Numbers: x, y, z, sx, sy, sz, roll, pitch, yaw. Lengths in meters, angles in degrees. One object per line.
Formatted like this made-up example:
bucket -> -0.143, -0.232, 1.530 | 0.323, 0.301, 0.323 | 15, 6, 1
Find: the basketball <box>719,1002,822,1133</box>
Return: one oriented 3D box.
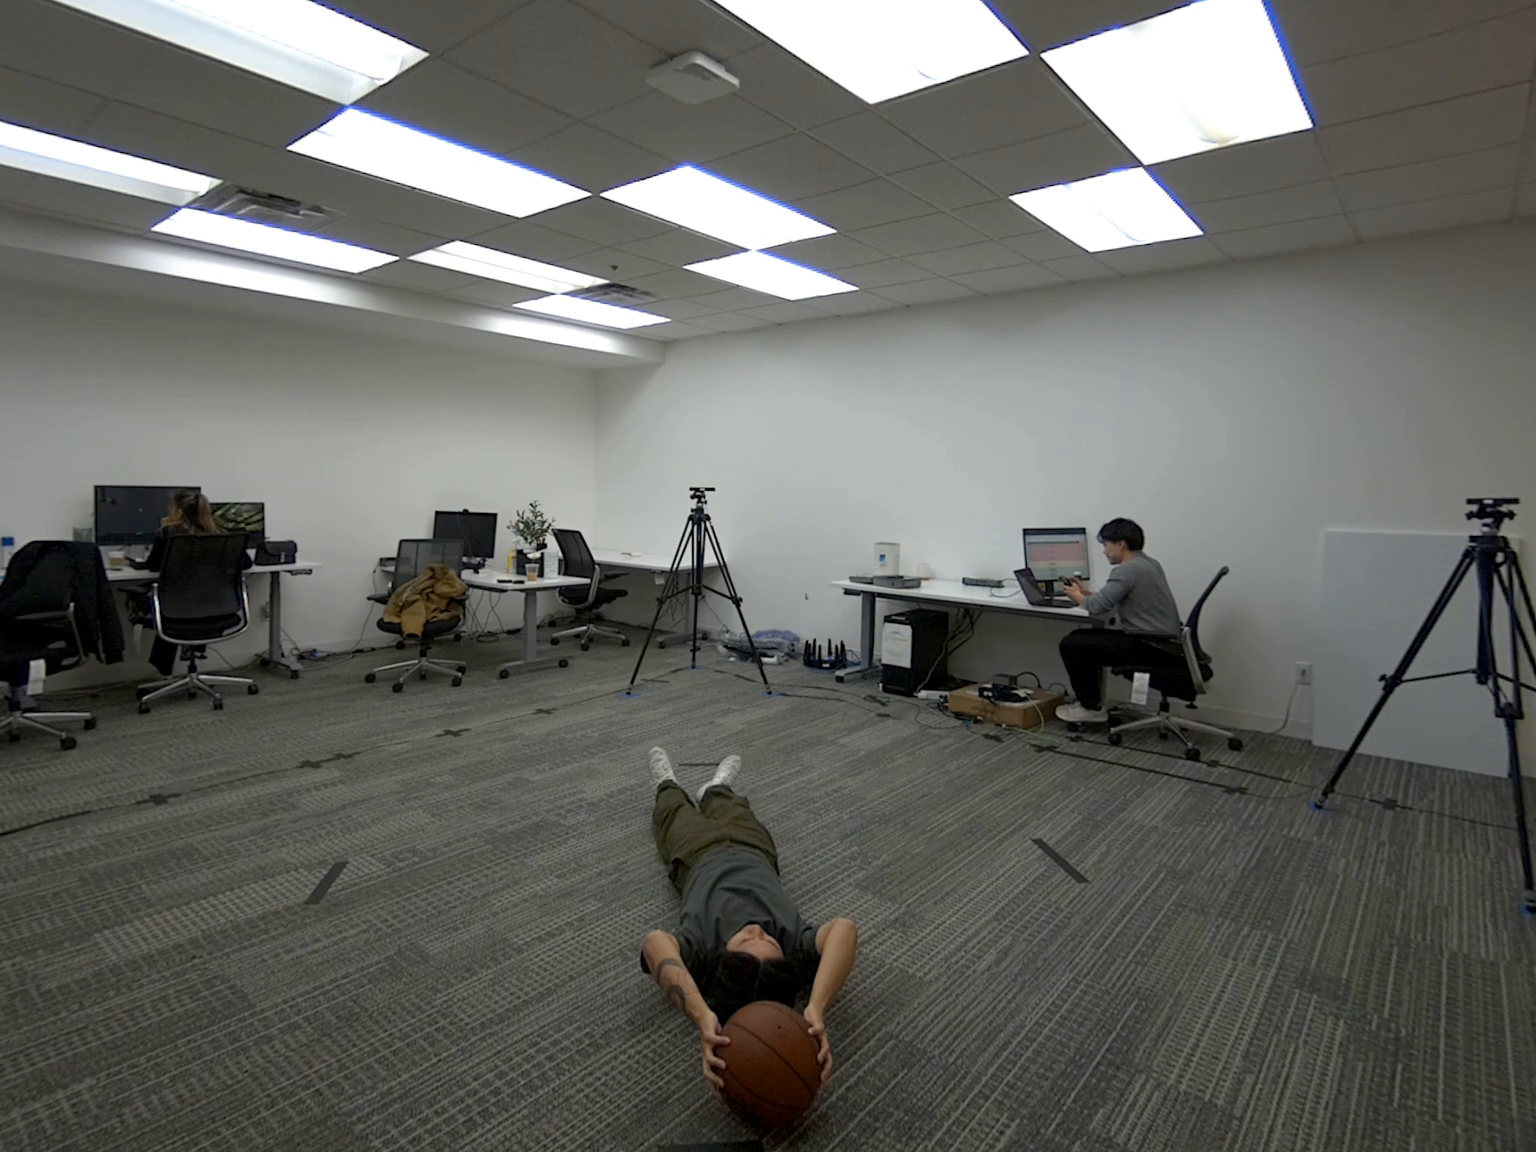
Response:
basketball -> -0.007, 1.077, 1.879 | 0.235, 0.235, 0.237 | 1, 4, -2
